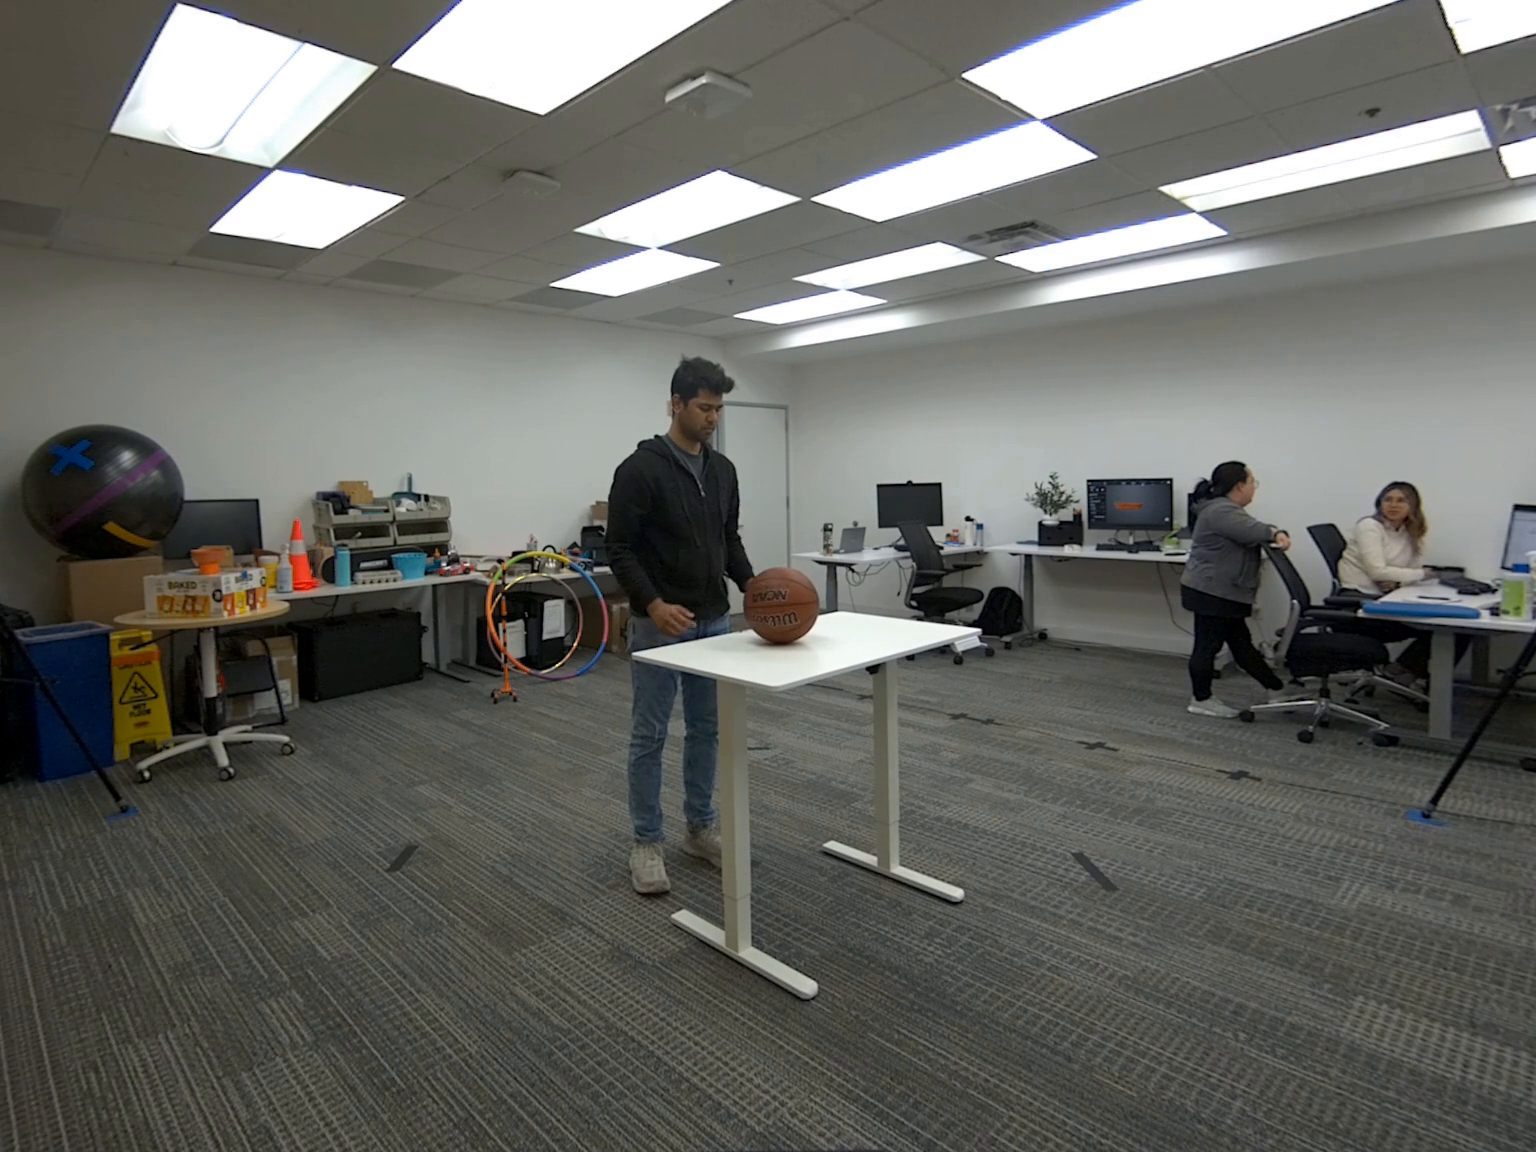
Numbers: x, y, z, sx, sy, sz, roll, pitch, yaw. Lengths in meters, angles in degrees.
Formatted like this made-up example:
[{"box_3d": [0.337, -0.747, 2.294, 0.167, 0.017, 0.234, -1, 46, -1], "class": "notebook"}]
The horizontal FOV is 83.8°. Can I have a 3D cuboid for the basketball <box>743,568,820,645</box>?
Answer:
[{"box_3d": [0.045, 0.091, 2.678, 0.236, 0.235, 0.237, -1, 5, -2], "class": "basketball"}]
